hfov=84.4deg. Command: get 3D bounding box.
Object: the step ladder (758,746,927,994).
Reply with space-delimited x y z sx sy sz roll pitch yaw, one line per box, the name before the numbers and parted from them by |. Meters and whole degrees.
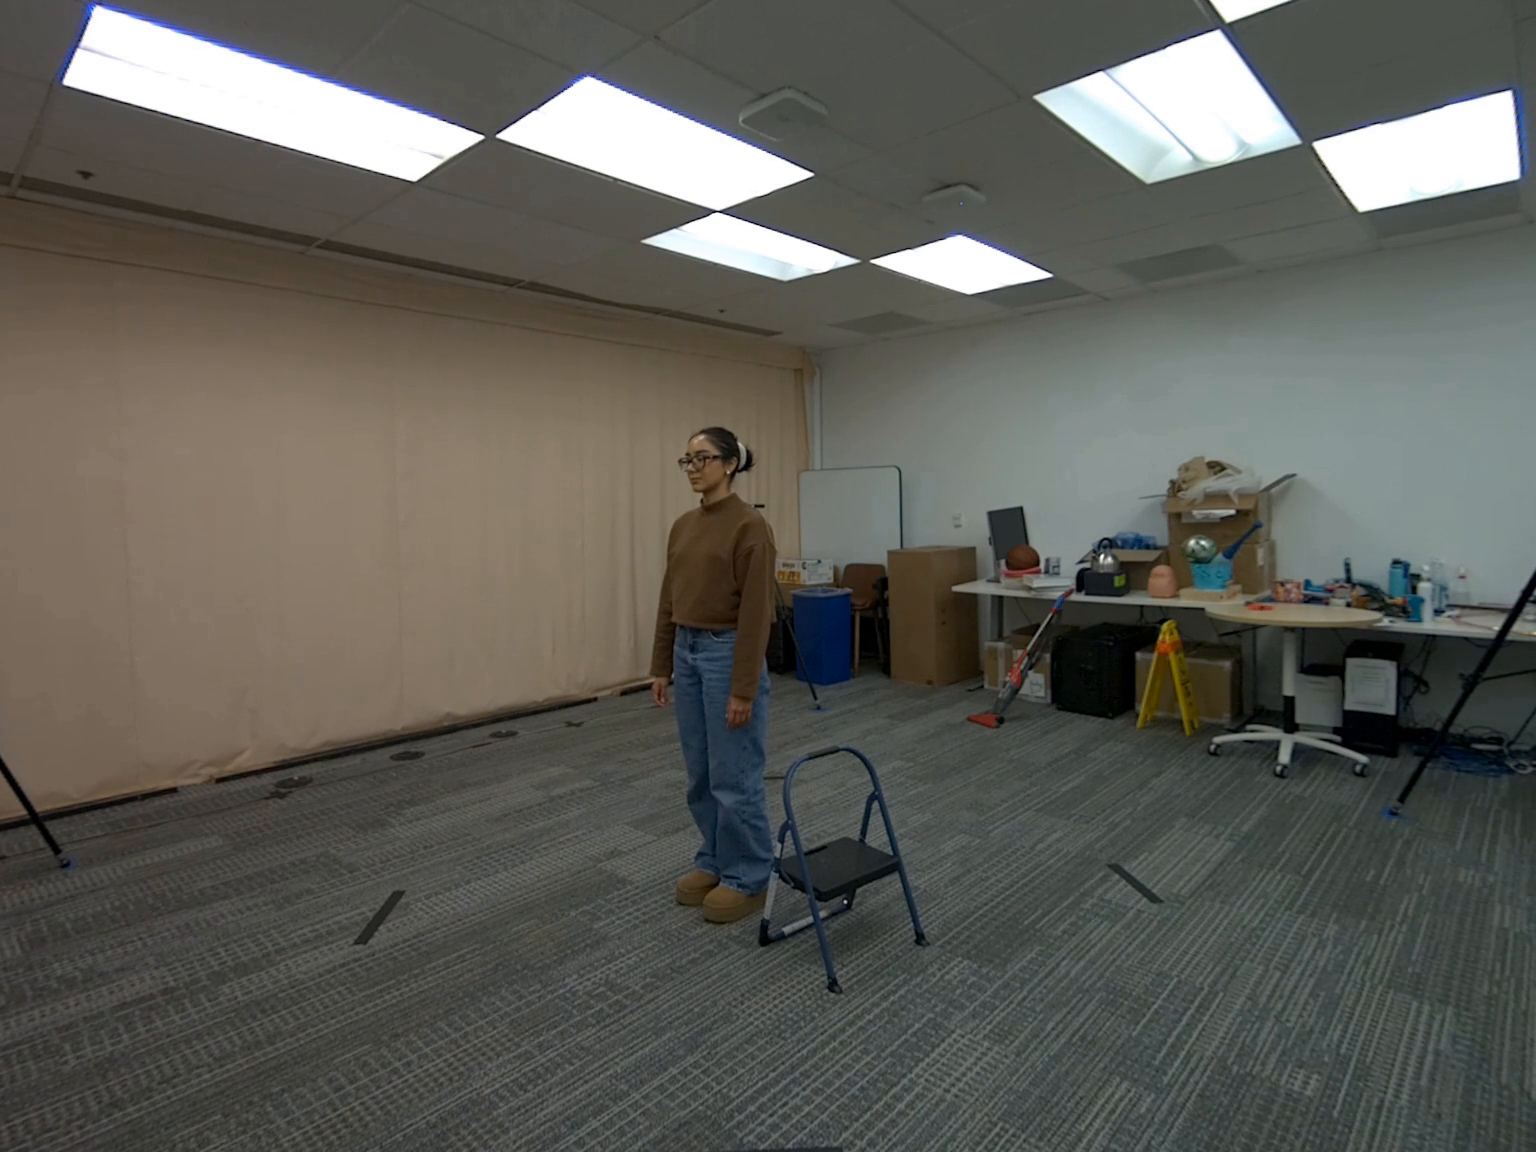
step ladder | 0.237 0.860 2.640 0.418 0.605 0.360 -4 4 -40
